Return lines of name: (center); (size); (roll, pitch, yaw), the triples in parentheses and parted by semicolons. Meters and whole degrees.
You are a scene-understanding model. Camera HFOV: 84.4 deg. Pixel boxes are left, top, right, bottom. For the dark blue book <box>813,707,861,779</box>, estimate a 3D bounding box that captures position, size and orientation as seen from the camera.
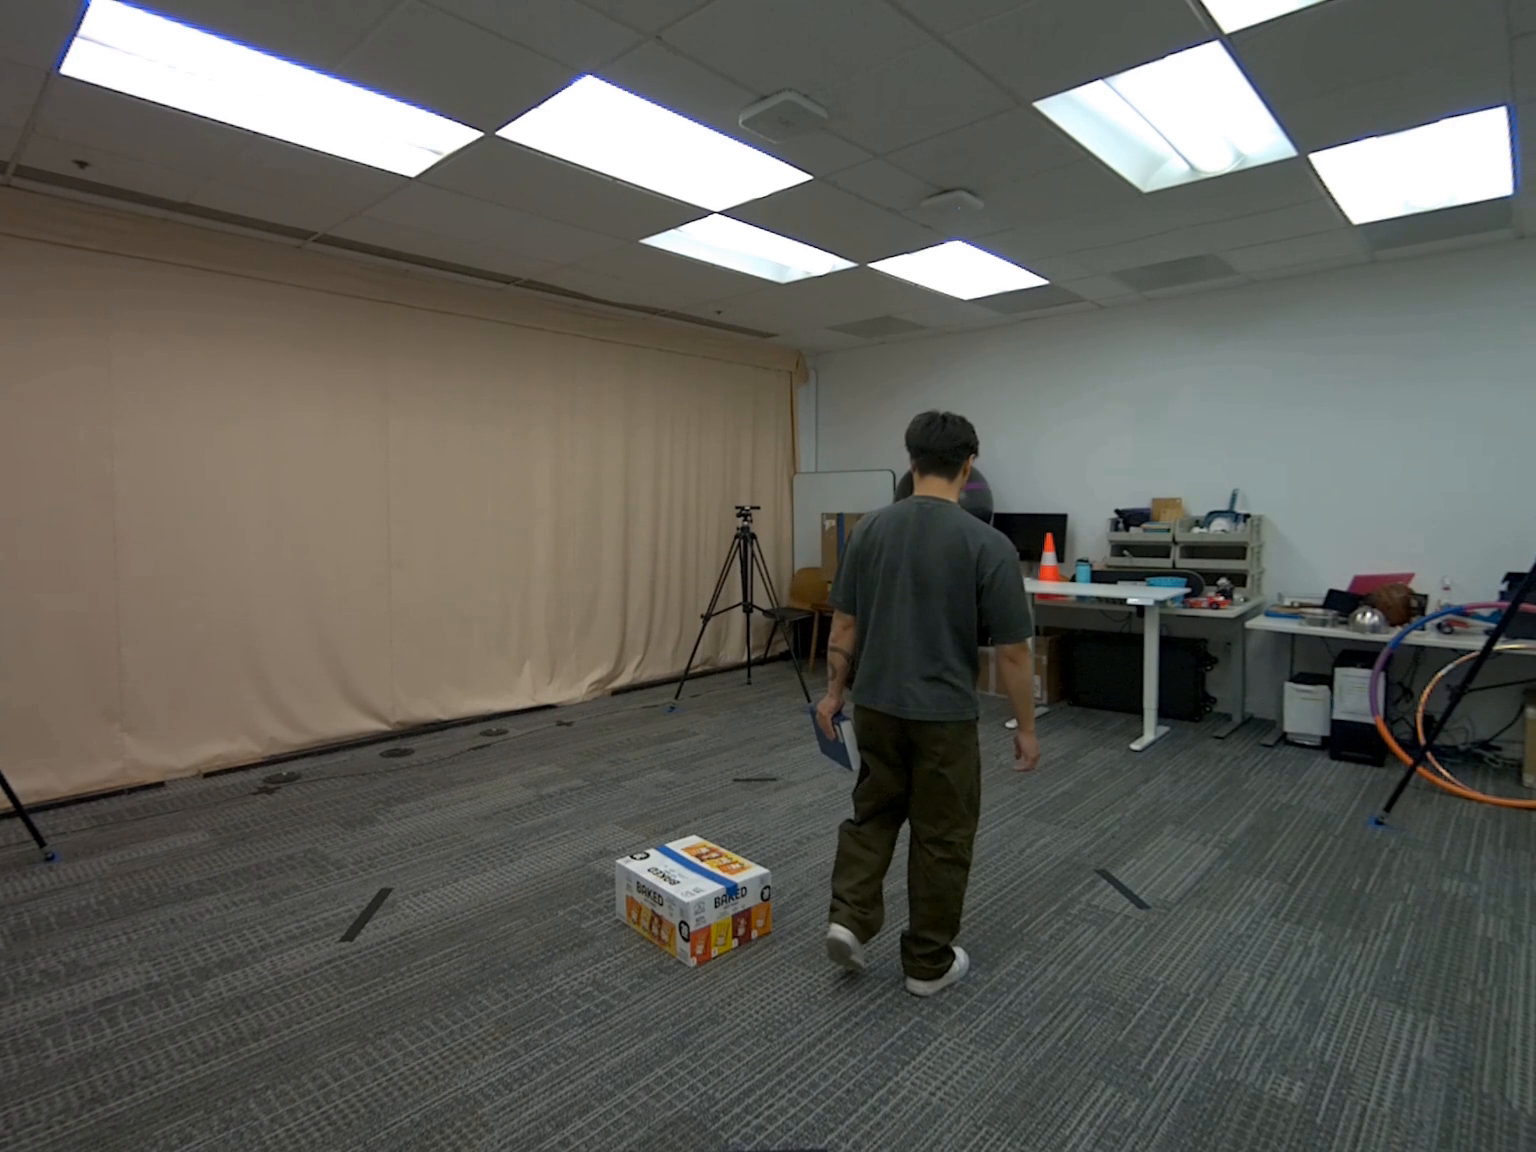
dark blue book: (0.215, 0.509, 2.639); (0.044, 0.163, 0.249); (-11, 6, -15)
